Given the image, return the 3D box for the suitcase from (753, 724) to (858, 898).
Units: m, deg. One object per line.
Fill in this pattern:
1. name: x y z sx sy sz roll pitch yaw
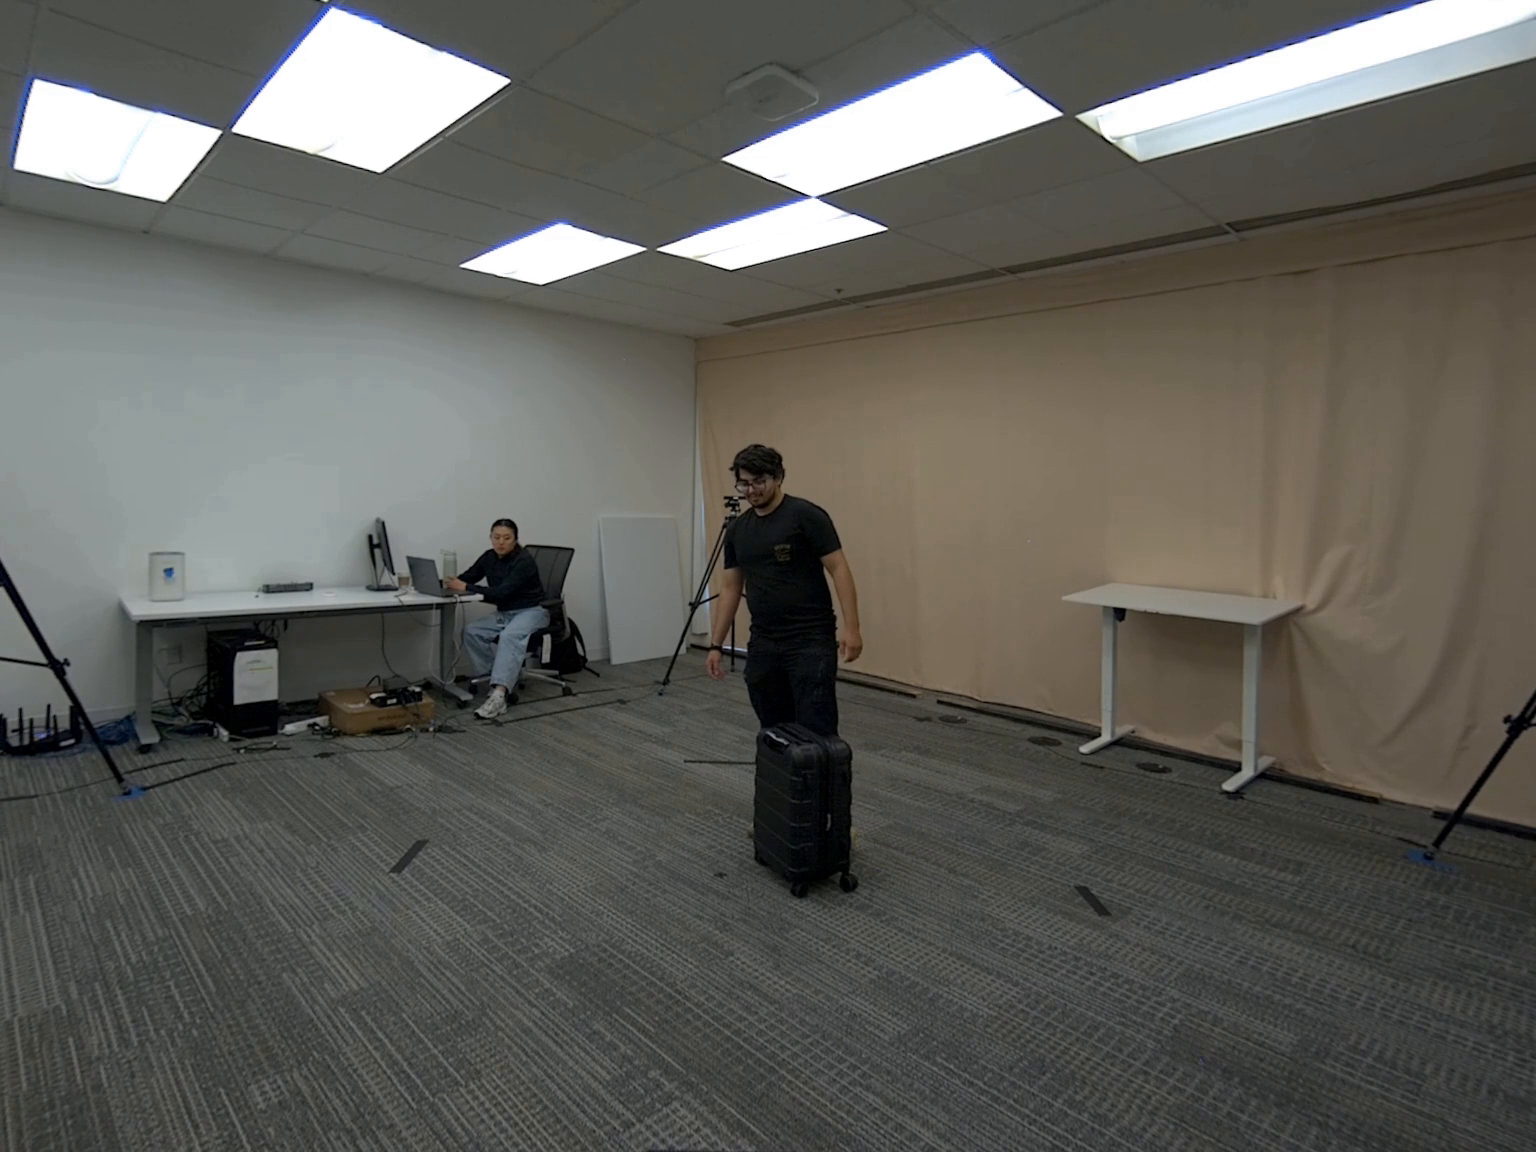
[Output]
1. suitcase: 0.115 0.831 3.095 0.244 0.548 0.383 0 4 -26
